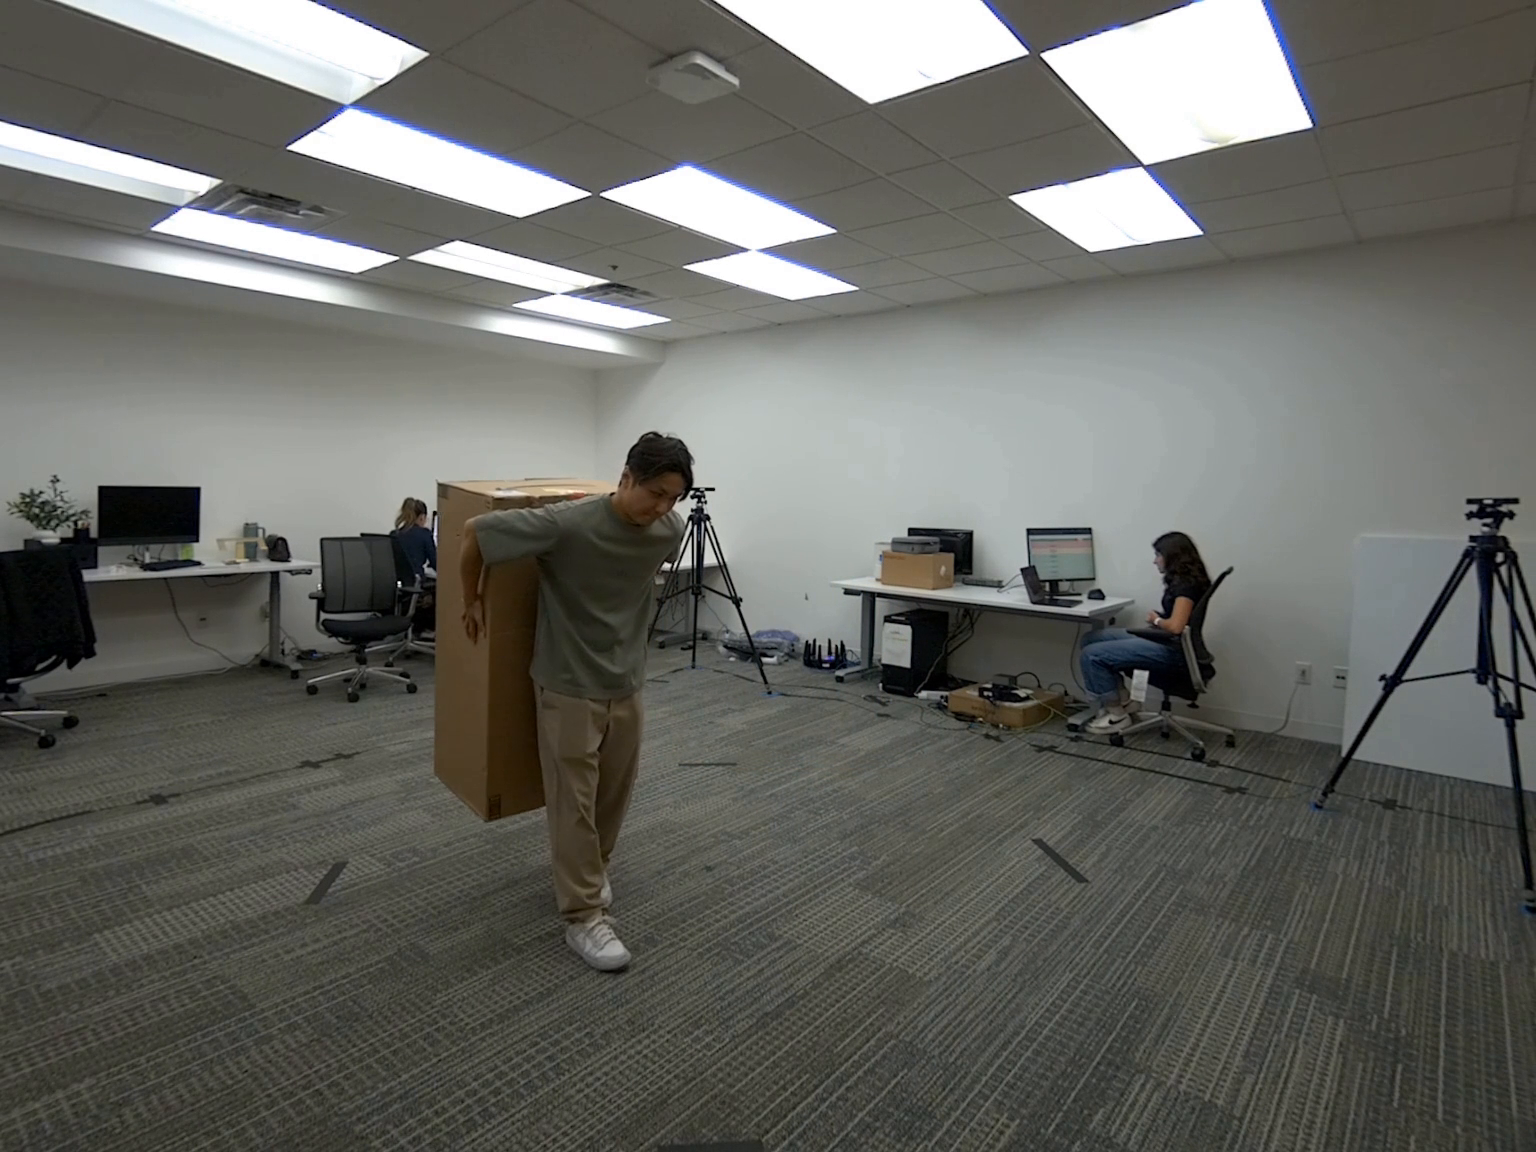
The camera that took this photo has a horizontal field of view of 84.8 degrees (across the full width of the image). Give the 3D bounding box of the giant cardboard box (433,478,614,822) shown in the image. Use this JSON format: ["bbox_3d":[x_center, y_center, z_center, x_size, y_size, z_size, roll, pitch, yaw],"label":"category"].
[{"bbox_3d":[-0.793,0.199,2.901,0.561,1.018,0.442,-4,12,-42],"label":"giant cardboard box"}]
